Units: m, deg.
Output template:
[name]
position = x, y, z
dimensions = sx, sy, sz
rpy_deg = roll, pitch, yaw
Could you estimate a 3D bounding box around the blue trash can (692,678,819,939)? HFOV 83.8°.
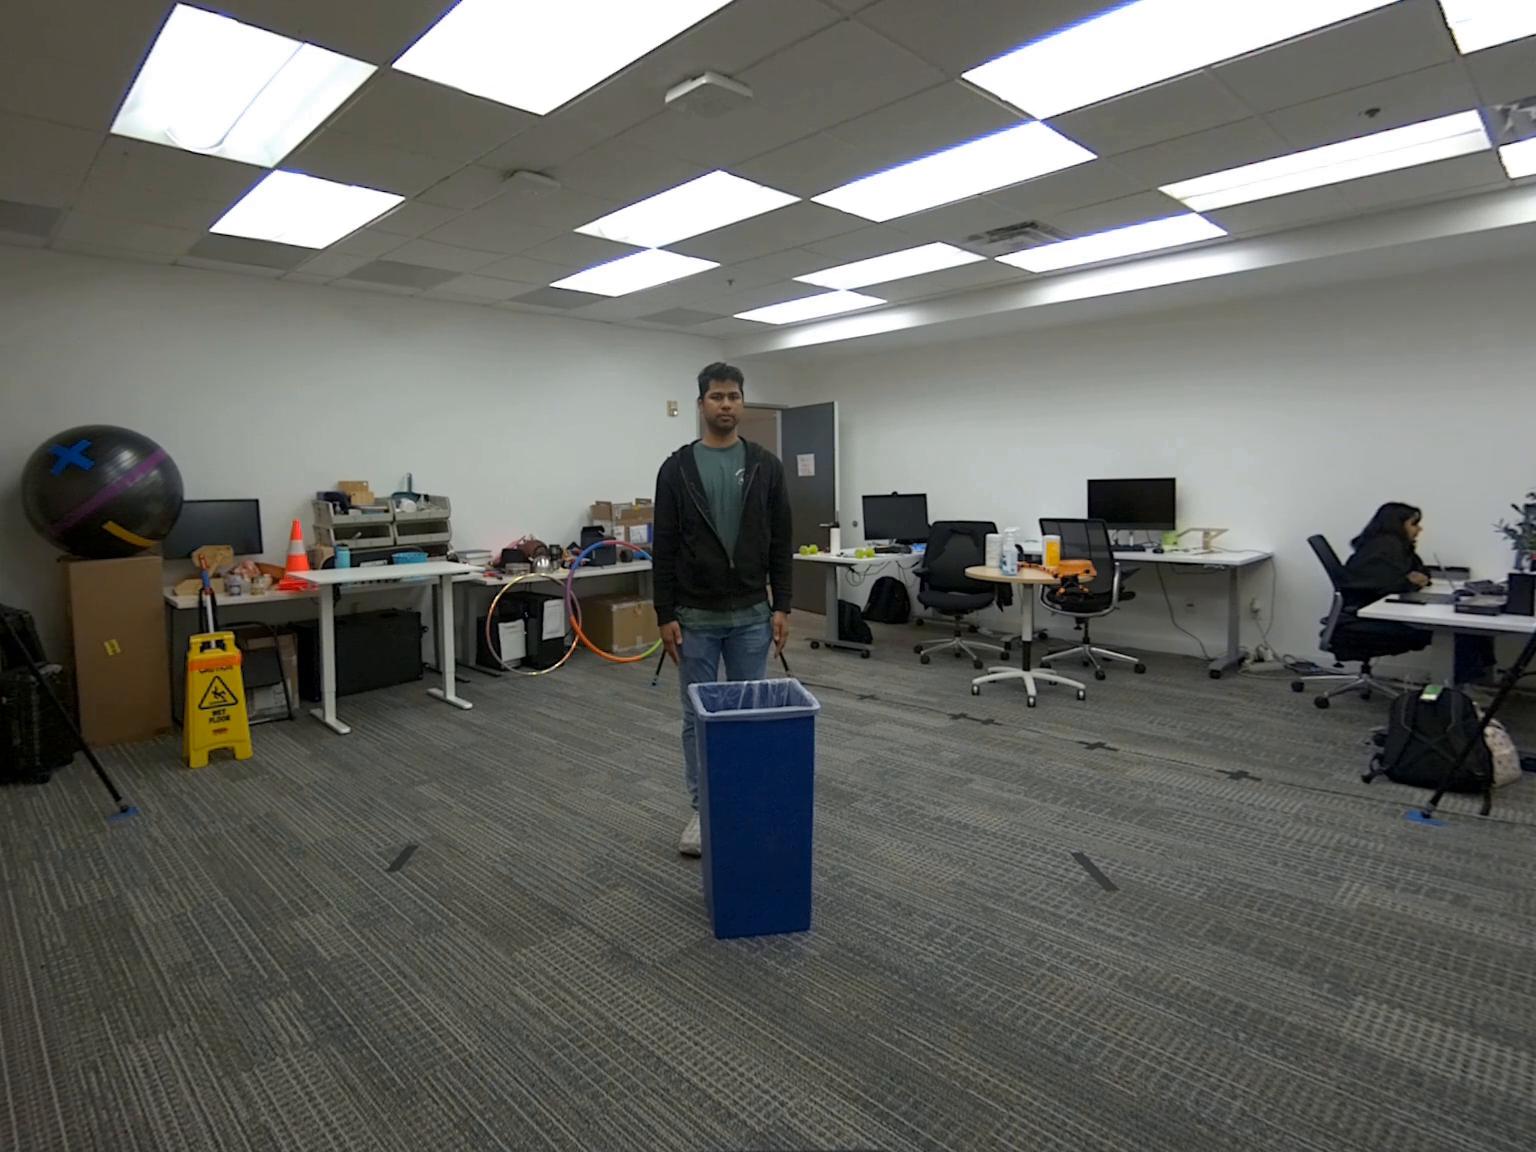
[blue trash can]
position = -0.046, 0.733, 2.730
dimensions = 0.375, 0.710, 0.379
rpy_deg = -2, 5, -10
